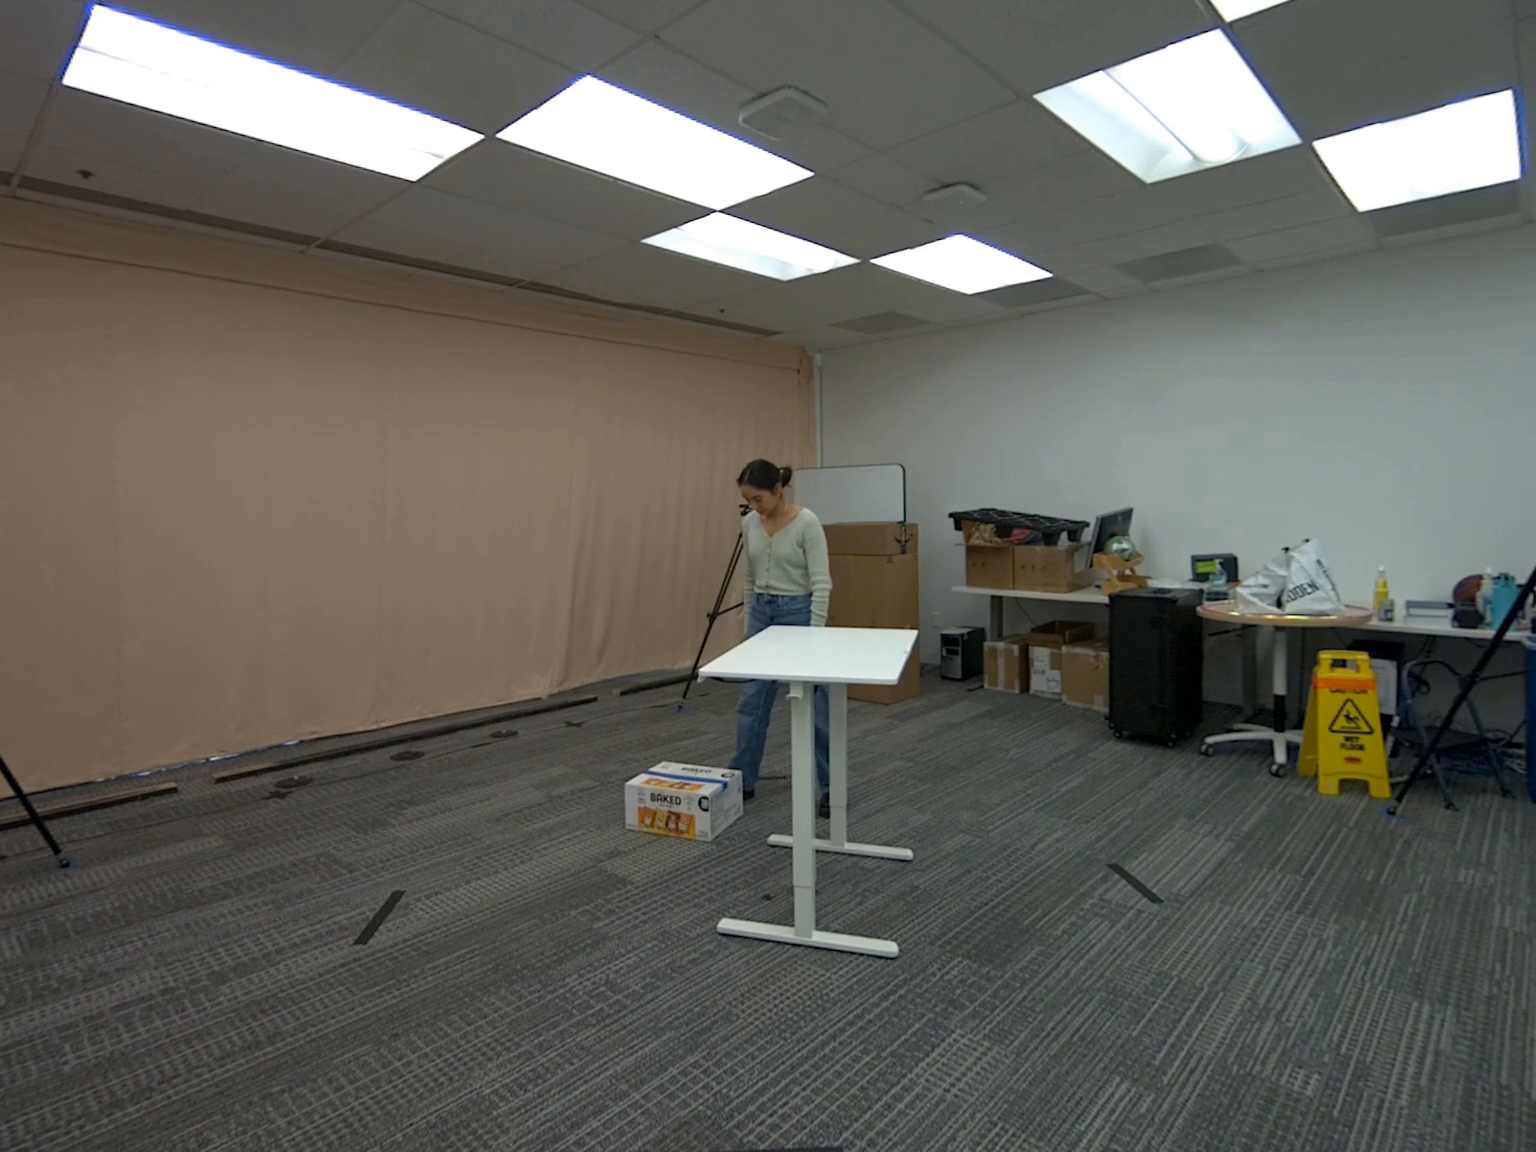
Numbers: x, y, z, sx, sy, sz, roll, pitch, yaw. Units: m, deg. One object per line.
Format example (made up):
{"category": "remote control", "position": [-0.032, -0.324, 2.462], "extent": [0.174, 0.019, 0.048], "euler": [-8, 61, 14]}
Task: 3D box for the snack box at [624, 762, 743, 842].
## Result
{"category": "snack box", "position": [-0.365, 0.984, 3.707], "extent": [0.415, 0.205, 0.333], "euler": [1, 5, 24]}
